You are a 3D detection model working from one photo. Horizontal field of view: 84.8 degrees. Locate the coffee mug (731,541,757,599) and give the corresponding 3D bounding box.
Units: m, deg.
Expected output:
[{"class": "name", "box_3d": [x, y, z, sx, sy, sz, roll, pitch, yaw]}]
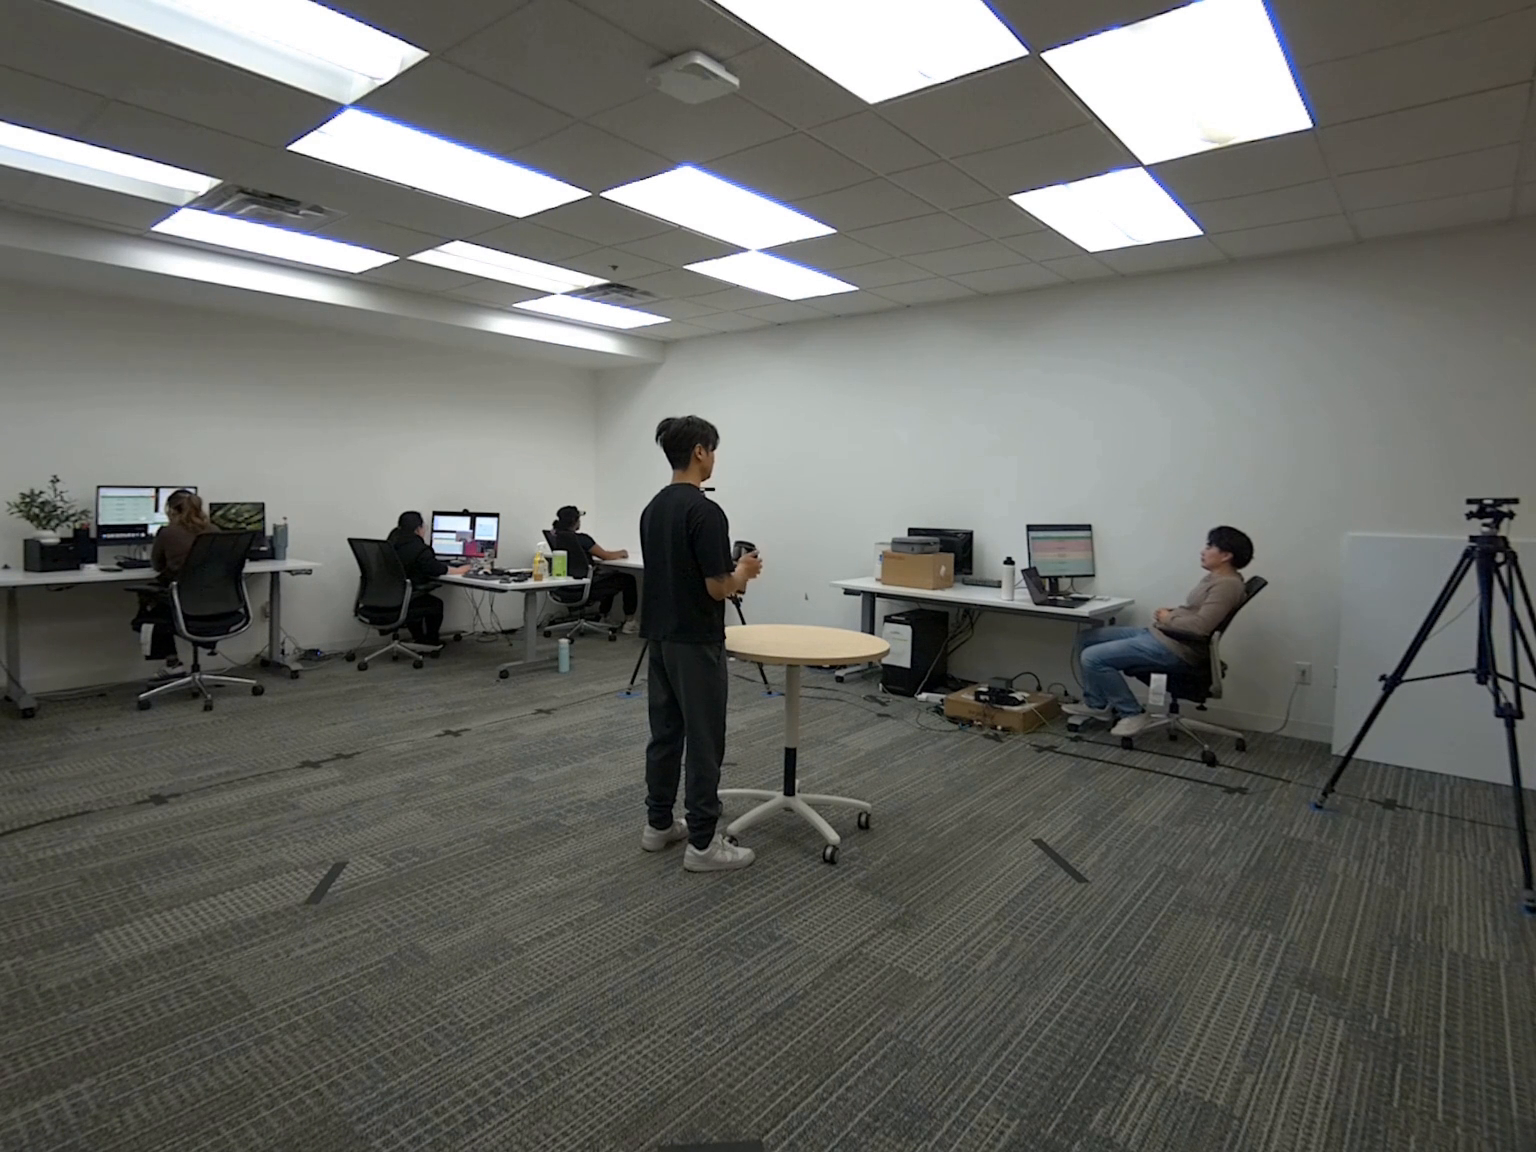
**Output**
[{"class": "coffee mug", "box_3d": [-0.130, -0.026, 3.350, 0.090, 0.204, 0.118, 9, -7, 22]}]
